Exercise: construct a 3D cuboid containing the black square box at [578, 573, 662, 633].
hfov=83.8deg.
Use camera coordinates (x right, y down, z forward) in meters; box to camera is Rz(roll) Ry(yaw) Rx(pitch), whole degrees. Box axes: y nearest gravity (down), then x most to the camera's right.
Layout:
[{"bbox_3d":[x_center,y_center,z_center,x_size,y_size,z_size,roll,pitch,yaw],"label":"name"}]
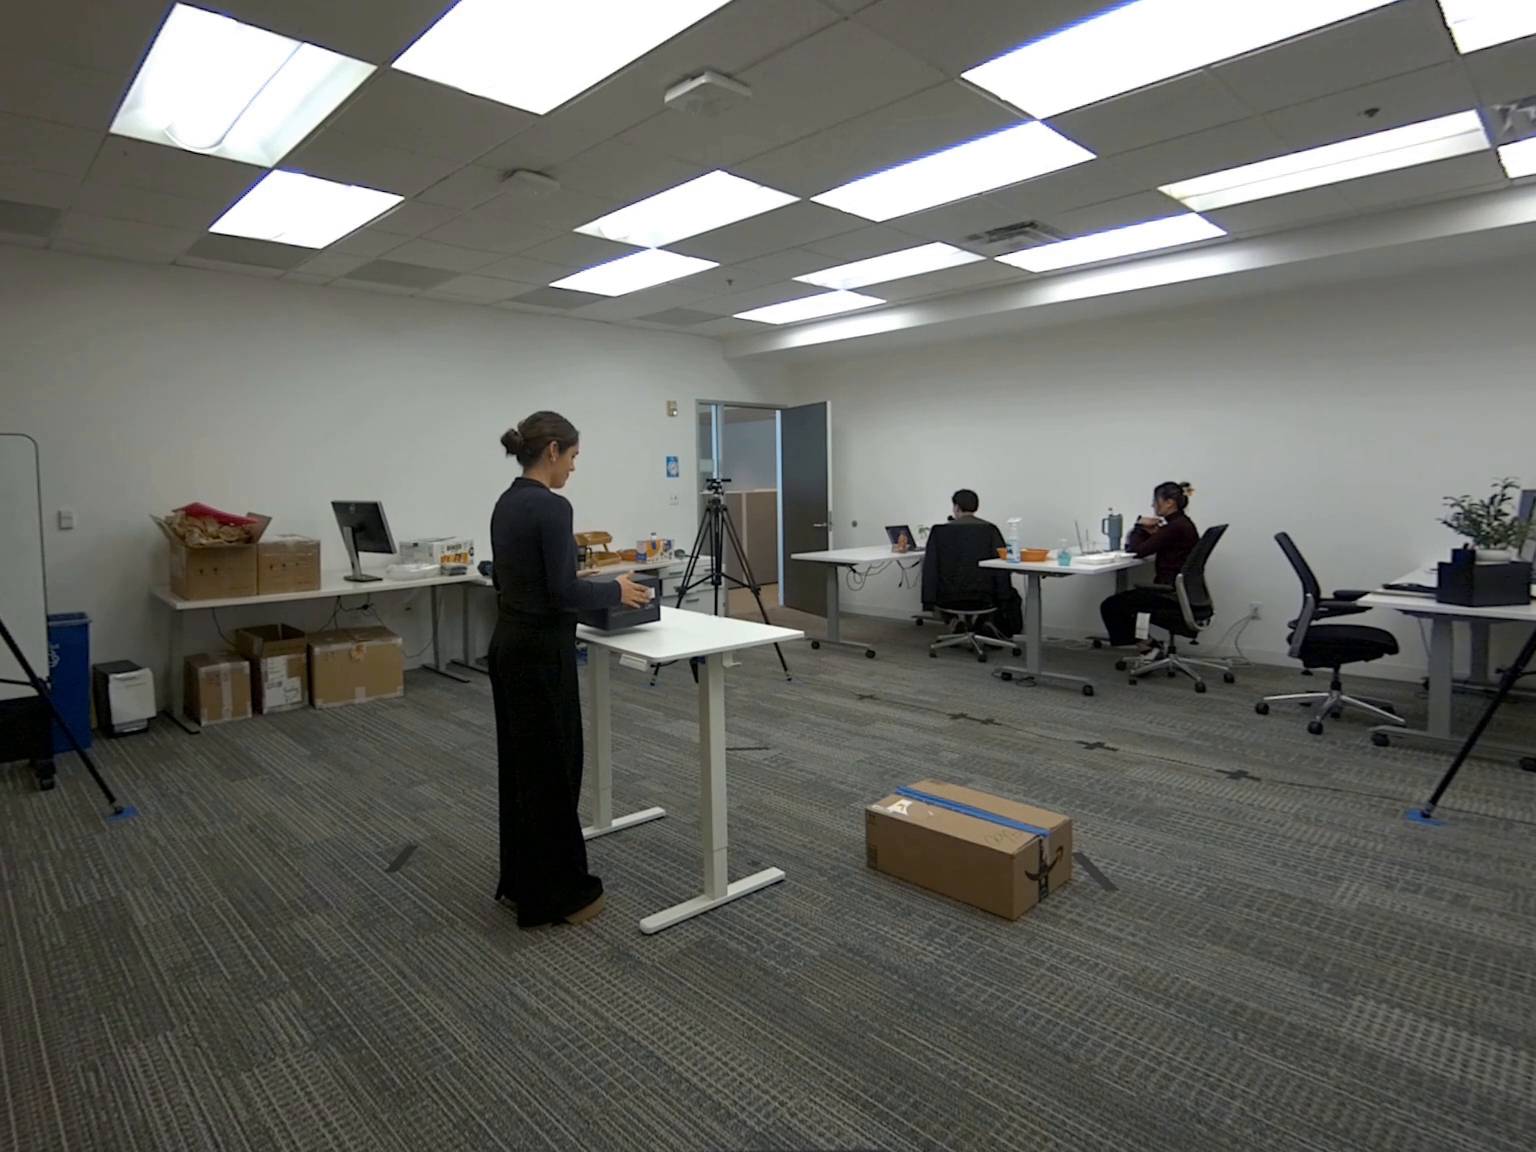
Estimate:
[{"bbox_3d":[-0.521,0.081,2.954,0.212,0.155,0.235,-9,10,-39],"label":"black square box"}]
